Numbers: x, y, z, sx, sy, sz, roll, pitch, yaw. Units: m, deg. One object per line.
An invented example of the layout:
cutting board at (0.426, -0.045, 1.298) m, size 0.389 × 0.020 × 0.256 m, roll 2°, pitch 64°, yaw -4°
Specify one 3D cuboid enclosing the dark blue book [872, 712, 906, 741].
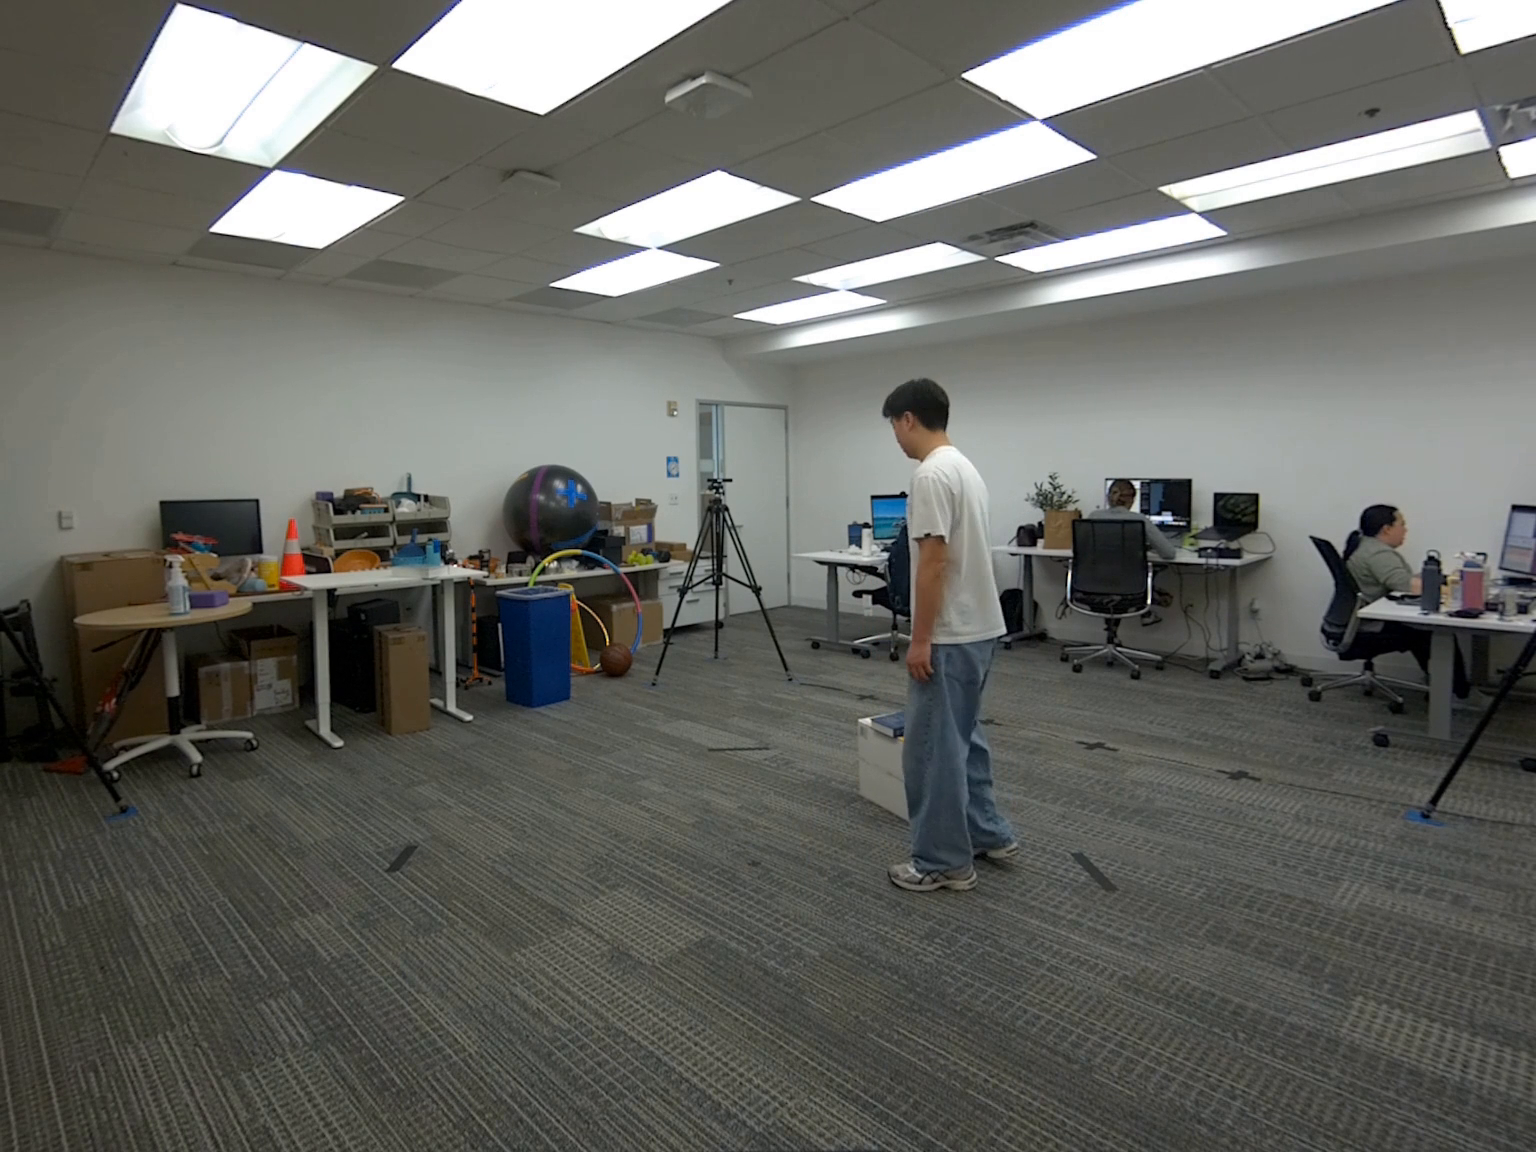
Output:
dark blue book at (0.587, 0.622, 3.602) m, size 0.240 × 0.045 × 0.168 m, roll -6°, pitch 8°, yaw -27°
